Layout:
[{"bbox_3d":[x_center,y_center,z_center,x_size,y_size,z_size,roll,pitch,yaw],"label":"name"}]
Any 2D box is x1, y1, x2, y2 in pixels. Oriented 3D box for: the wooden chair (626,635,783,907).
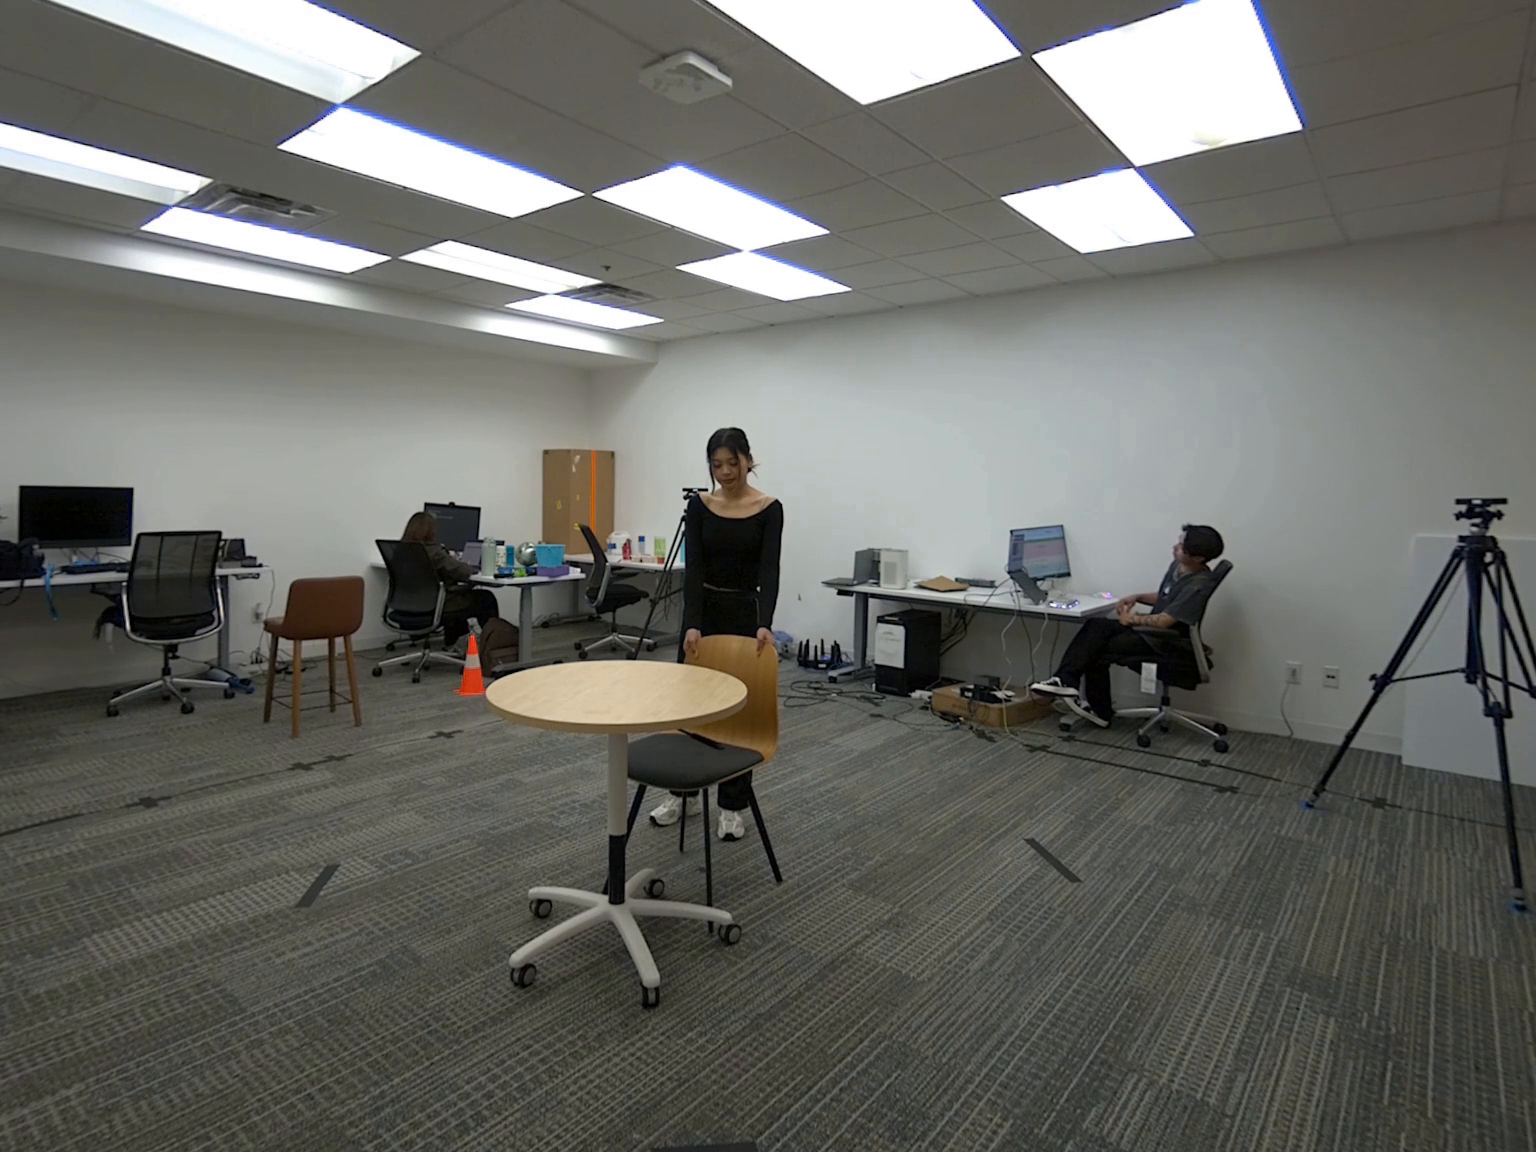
[{"bbox_3d":[-0.252,0.653,2.934,0.493,0.878,0.507,4,0,33],"label":"wooden chair"}]
